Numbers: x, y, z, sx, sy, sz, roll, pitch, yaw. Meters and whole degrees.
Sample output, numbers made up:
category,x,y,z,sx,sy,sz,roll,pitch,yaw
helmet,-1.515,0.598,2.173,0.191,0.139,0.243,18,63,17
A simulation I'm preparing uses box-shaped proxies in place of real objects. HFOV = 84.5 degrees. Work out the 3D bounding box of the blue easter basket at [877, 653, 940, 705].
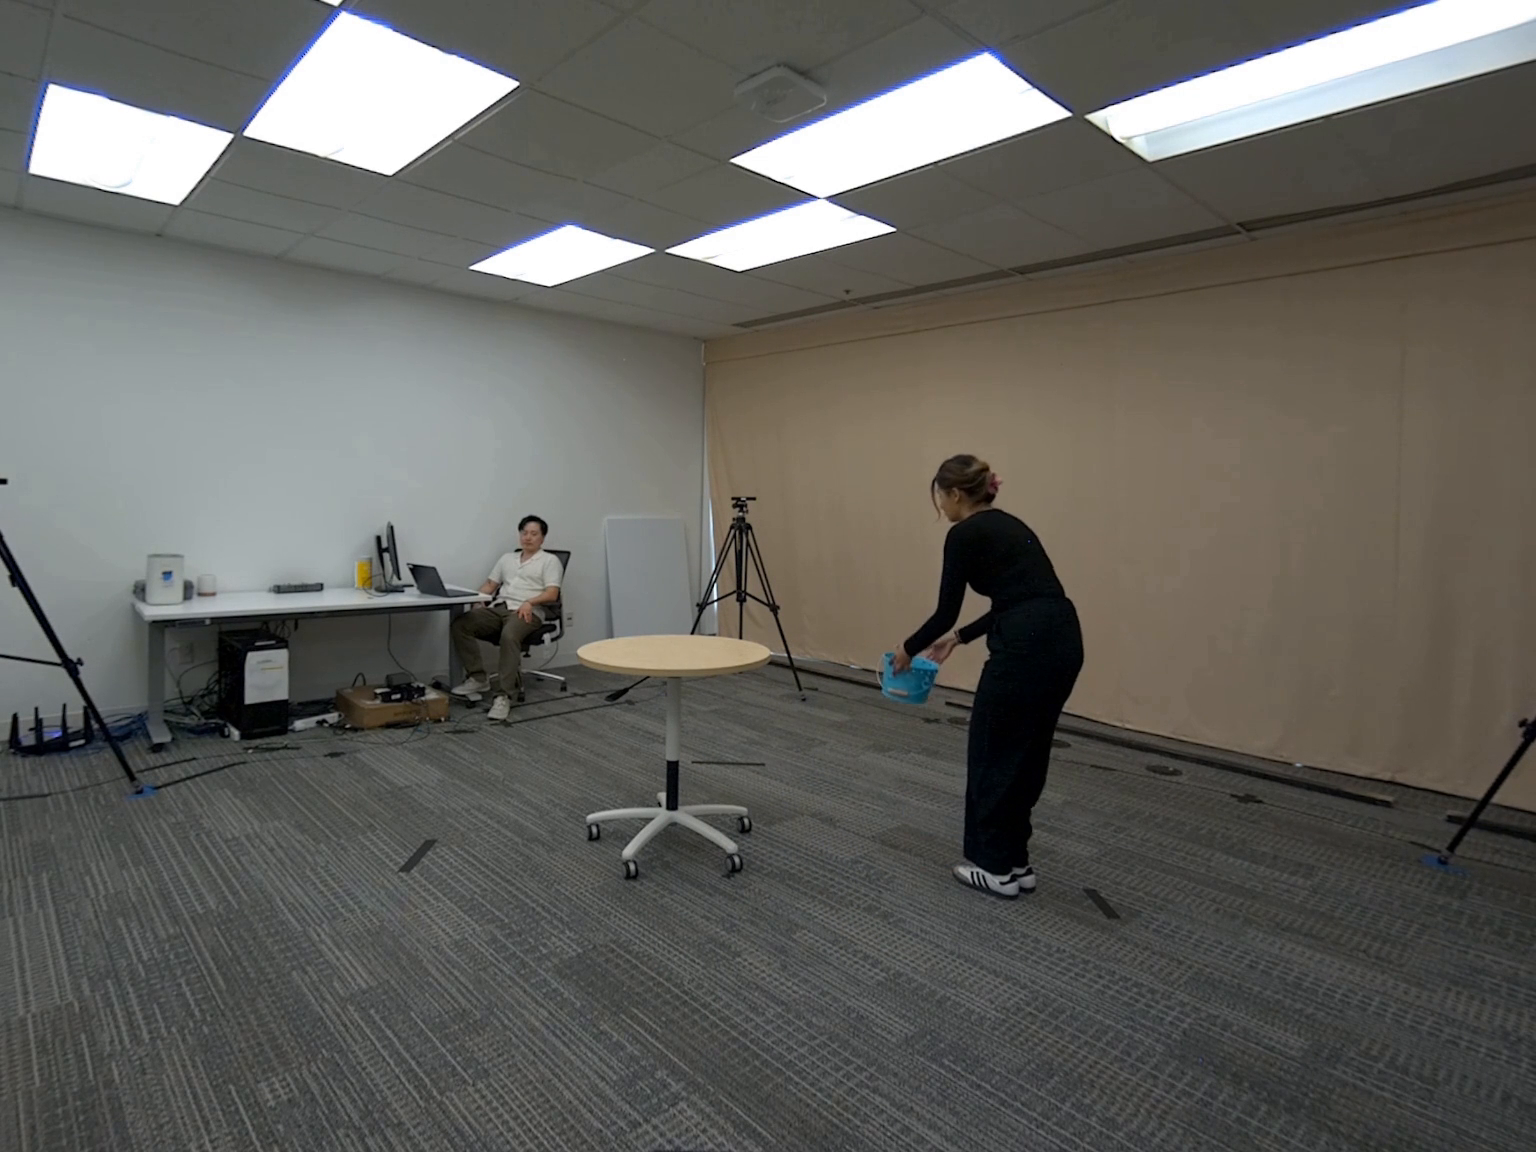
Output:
category,x,y,z,sx,sy,sz,roll,pitch,yaw
blue easter basket,0.558,0.419,3.413,0.243,0.155,0.244,9,5,-2
